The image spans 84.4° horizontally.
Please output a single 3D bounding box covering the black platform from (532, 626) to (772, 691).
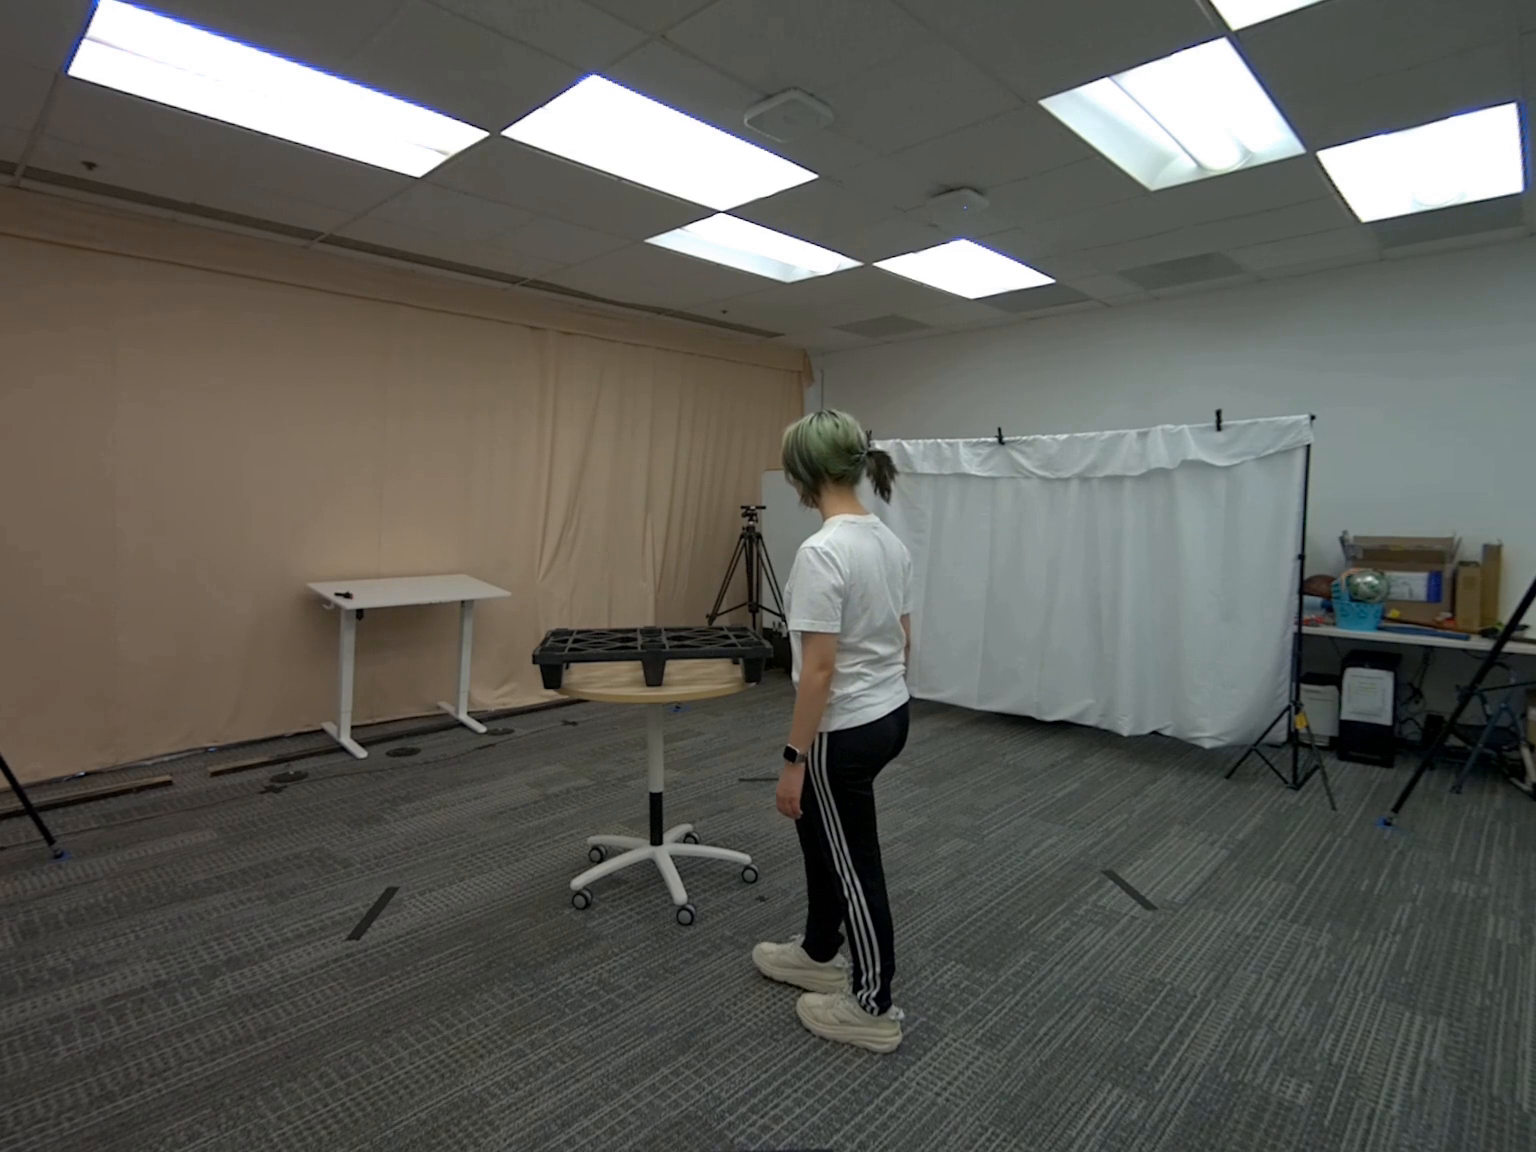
[{"bbox_3d":[-0.425,0.292,3.069,0.800,0.143,0.611,-1,3,-7],"label":"black platform"}]
